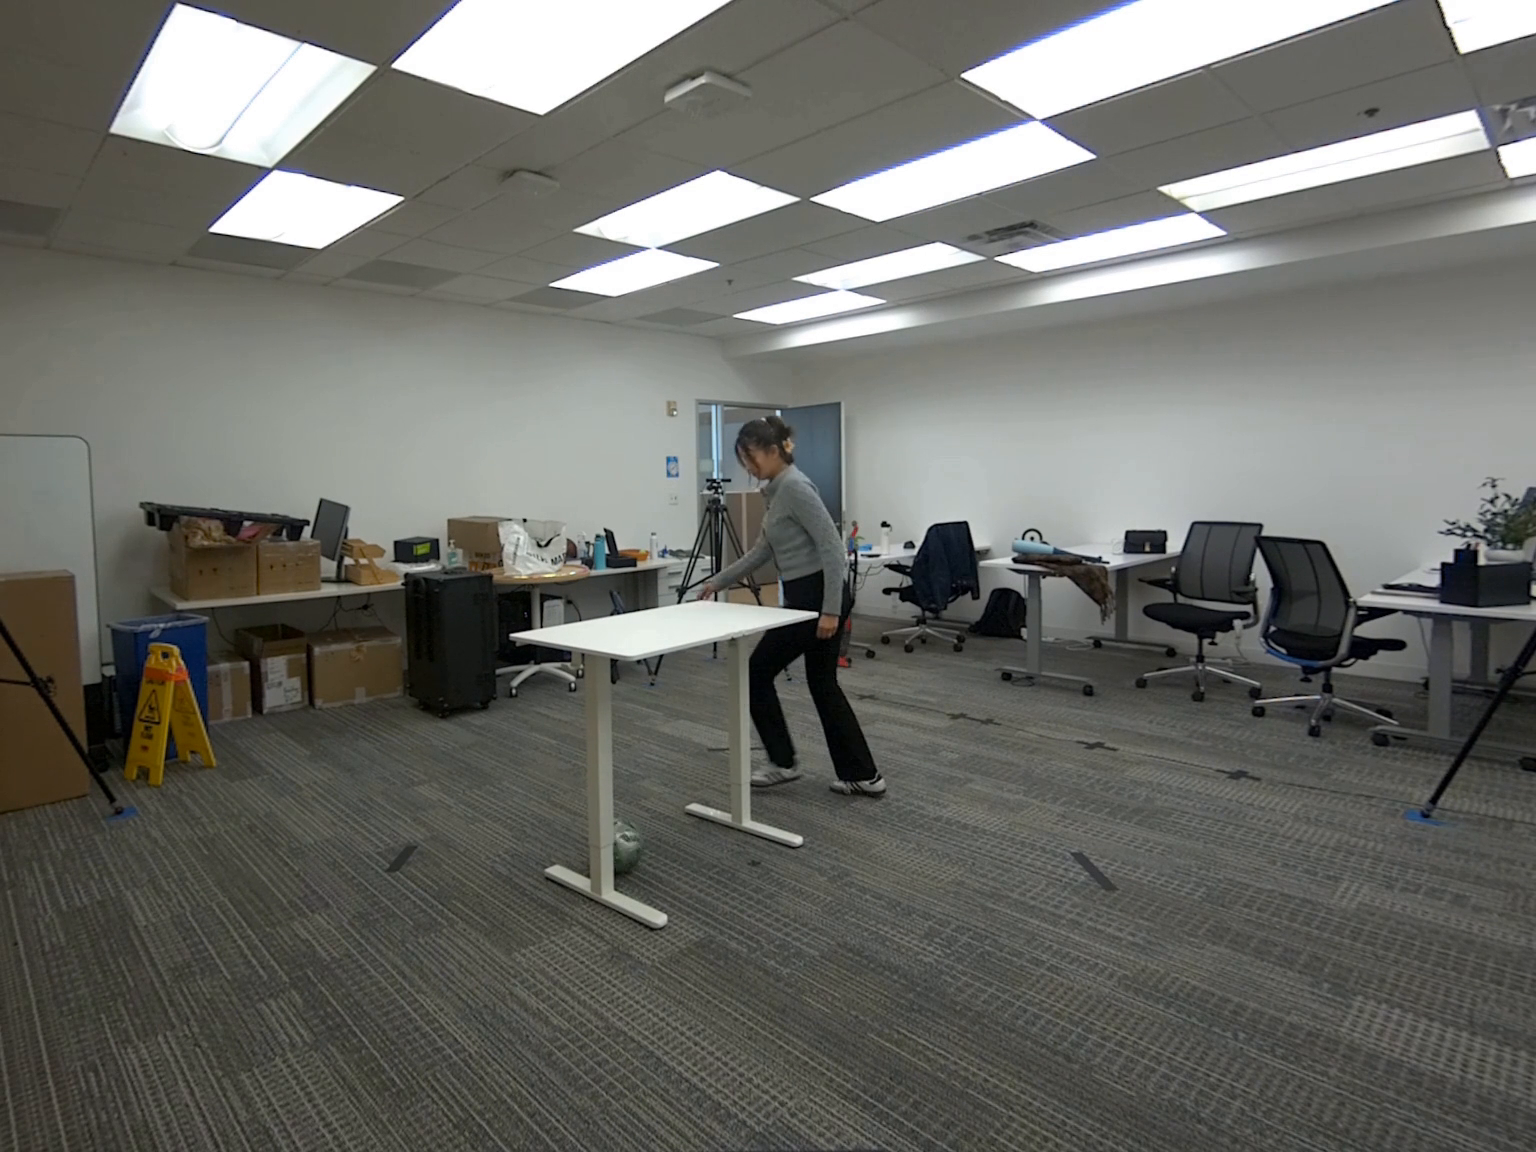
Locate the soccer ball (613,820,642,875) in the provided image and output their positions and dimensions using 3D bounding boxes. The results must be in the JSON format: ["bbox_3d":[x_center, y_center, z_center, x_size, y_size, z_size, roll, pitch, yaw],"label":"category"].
[{"bbox_3d":[-0.532,0.970,3.055,0.187,0.187,0.188,-1,5,-2],"label":"soccer ball"}]
